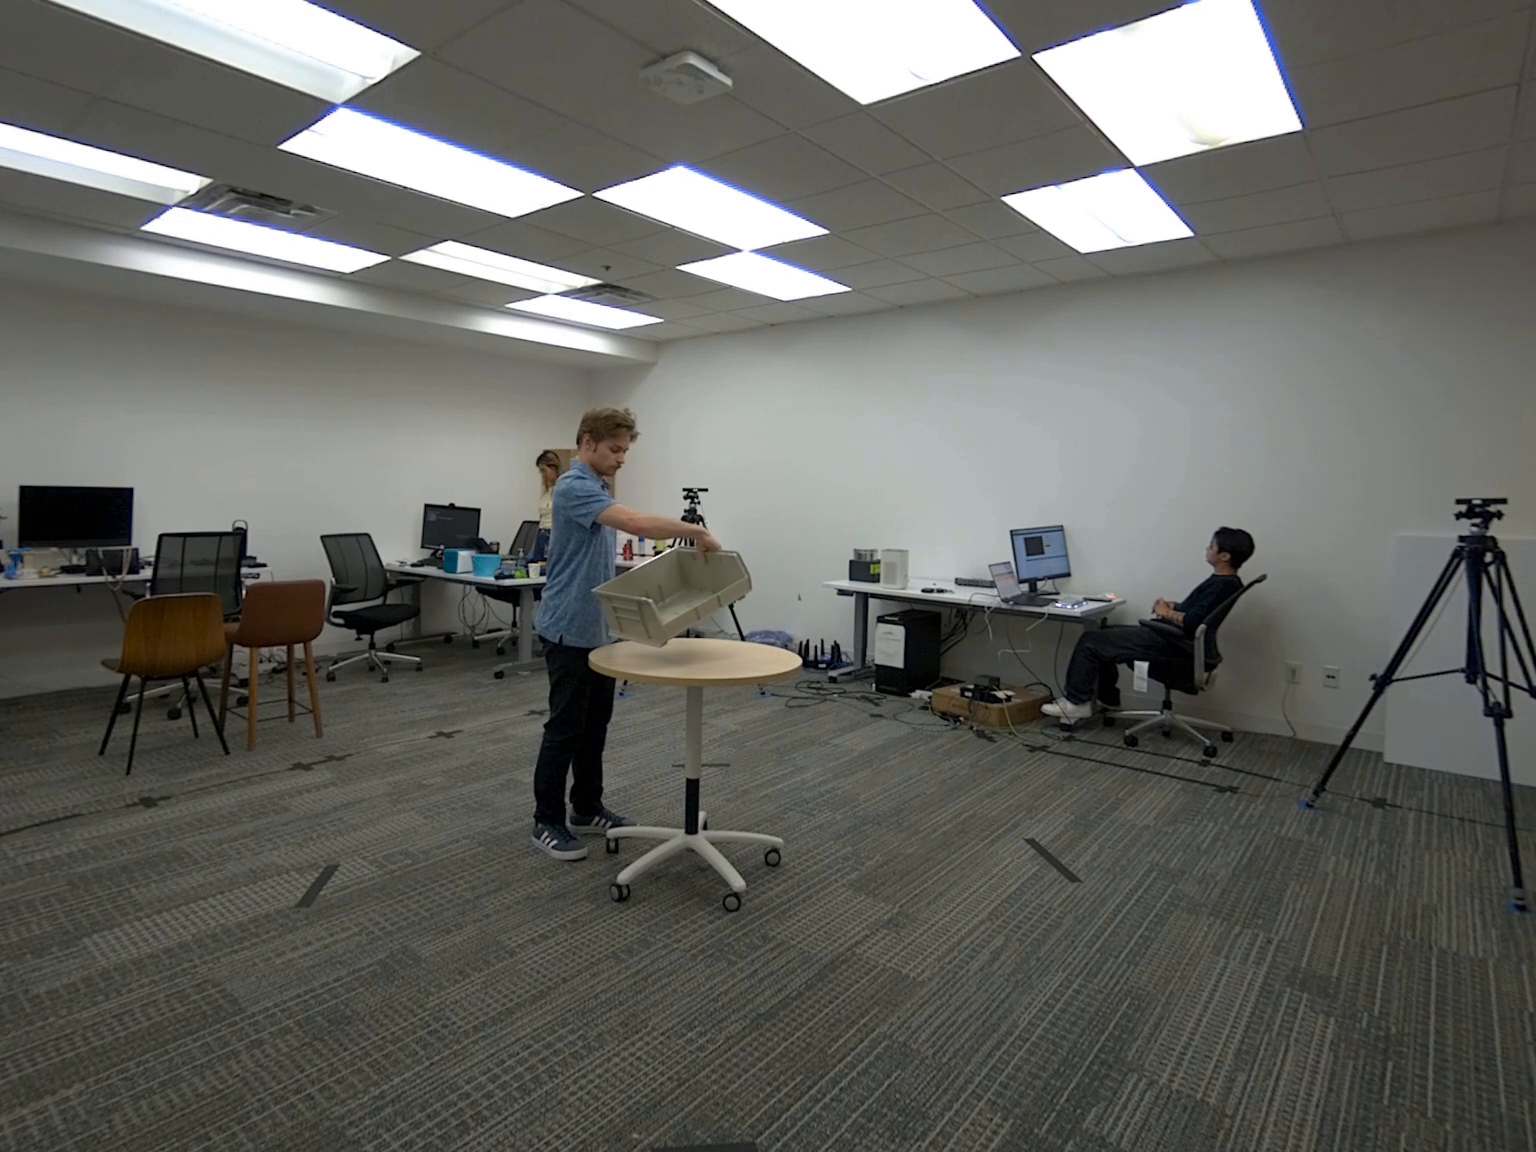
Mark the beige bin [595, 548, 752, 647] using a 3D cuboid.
[{"bbox_3d":[-0.344,0.065,3.026,0.416,0.185,0.390,-30,22,-37],"label":"beige bin"}]
